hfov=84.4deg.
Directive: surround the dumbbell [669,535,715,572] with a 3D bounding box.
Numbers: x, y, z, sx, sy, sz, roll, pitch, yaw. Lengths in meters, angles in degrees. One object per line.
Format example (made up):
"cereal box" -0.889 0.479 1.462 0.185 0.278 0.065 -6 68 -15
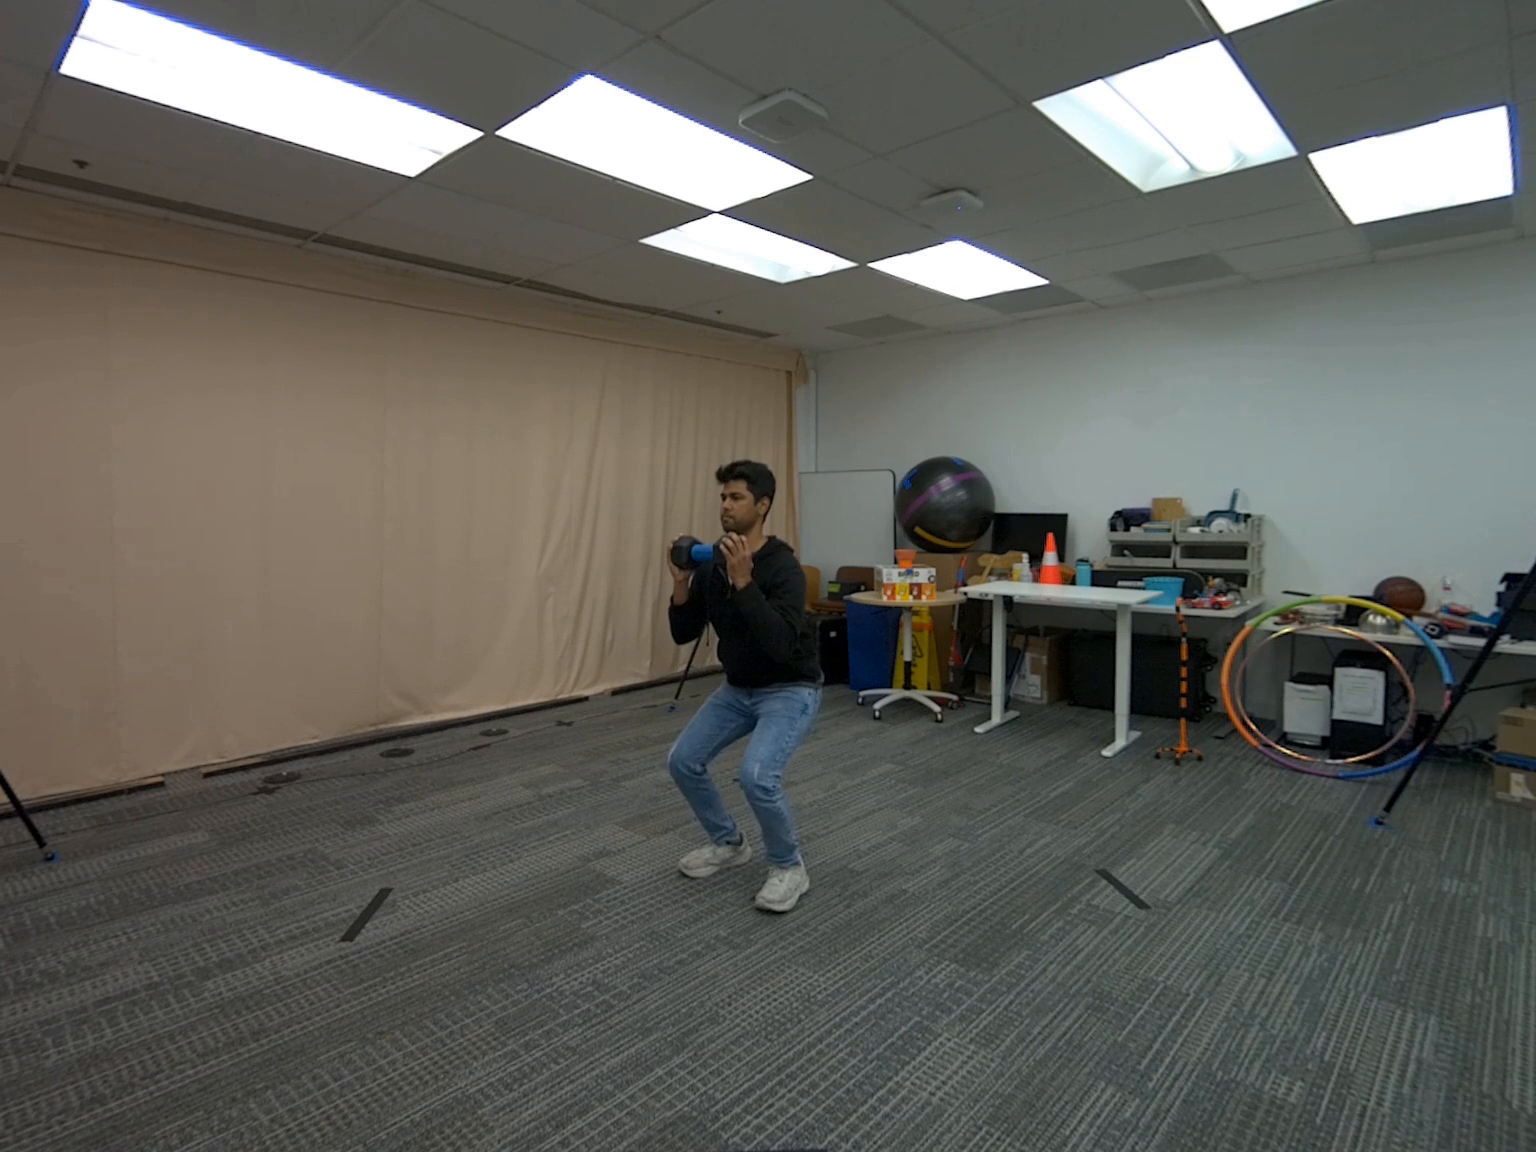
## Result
"dumbbell" -0.199 -0.074 2.931 0.303 0.122 0.105 4 6 43
